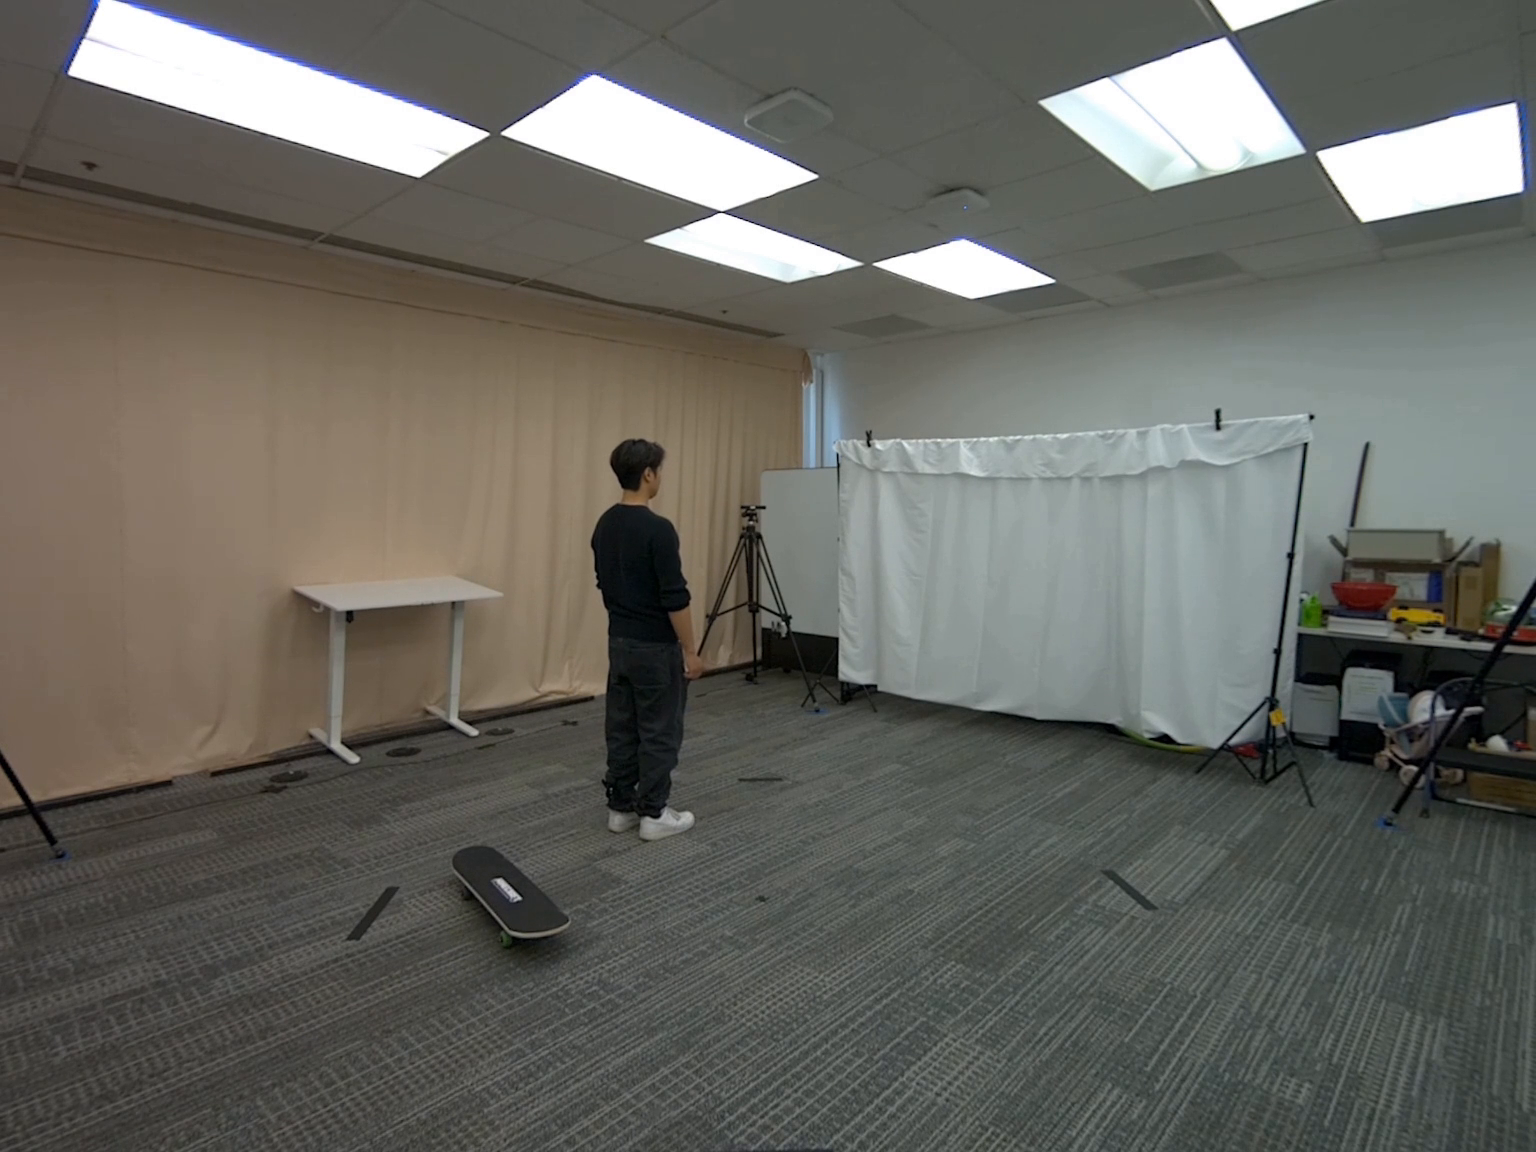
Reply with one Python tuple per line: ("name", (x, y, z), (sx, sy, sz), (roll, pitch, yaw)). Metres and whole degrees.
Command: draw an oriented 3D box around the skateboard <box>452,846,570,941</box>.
("skateboard", (-0.890, 1.099, 2.877), (0.188, 0.110, 0.810), (-3, 5, -37))
